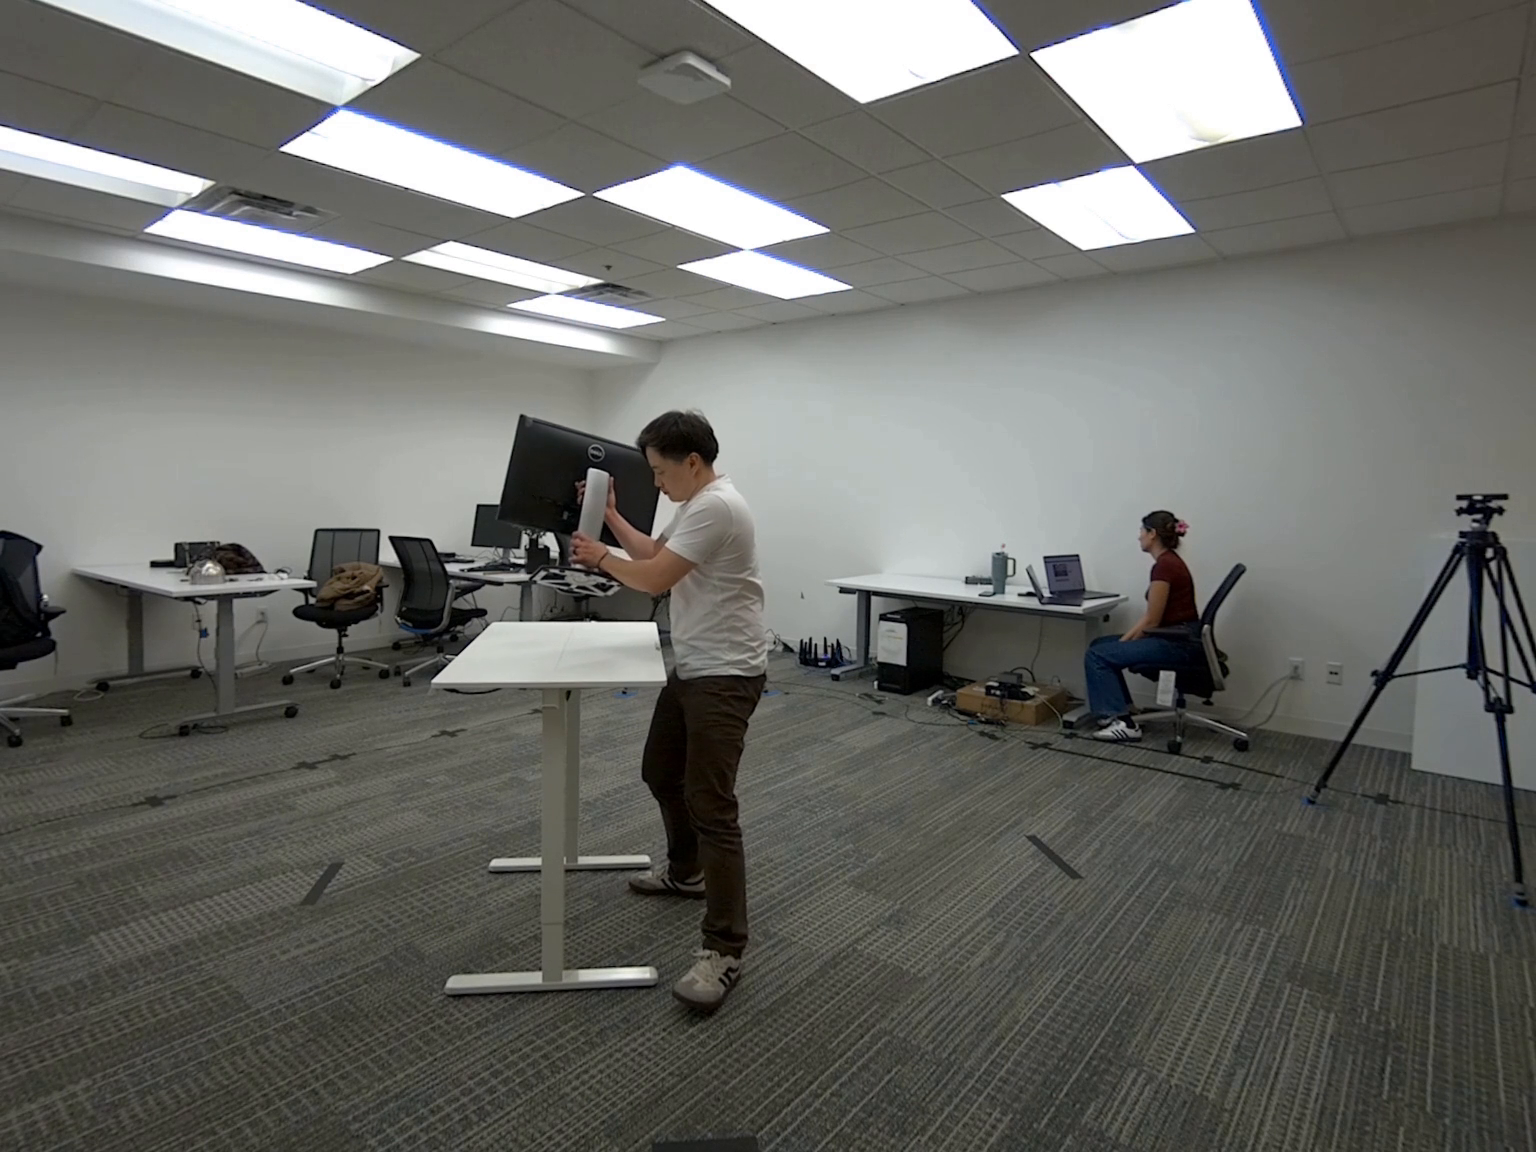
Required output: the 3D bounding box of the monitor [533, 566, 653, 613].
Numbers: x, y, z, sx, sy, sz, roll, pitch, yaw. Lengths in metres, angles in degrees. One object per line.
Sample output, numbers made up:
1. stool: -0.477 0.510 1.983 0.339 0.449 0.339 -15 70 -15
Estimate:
1. monitor: -0.607 -0.220 2.794 0.521 0.530 0.190 14 -19 -30
